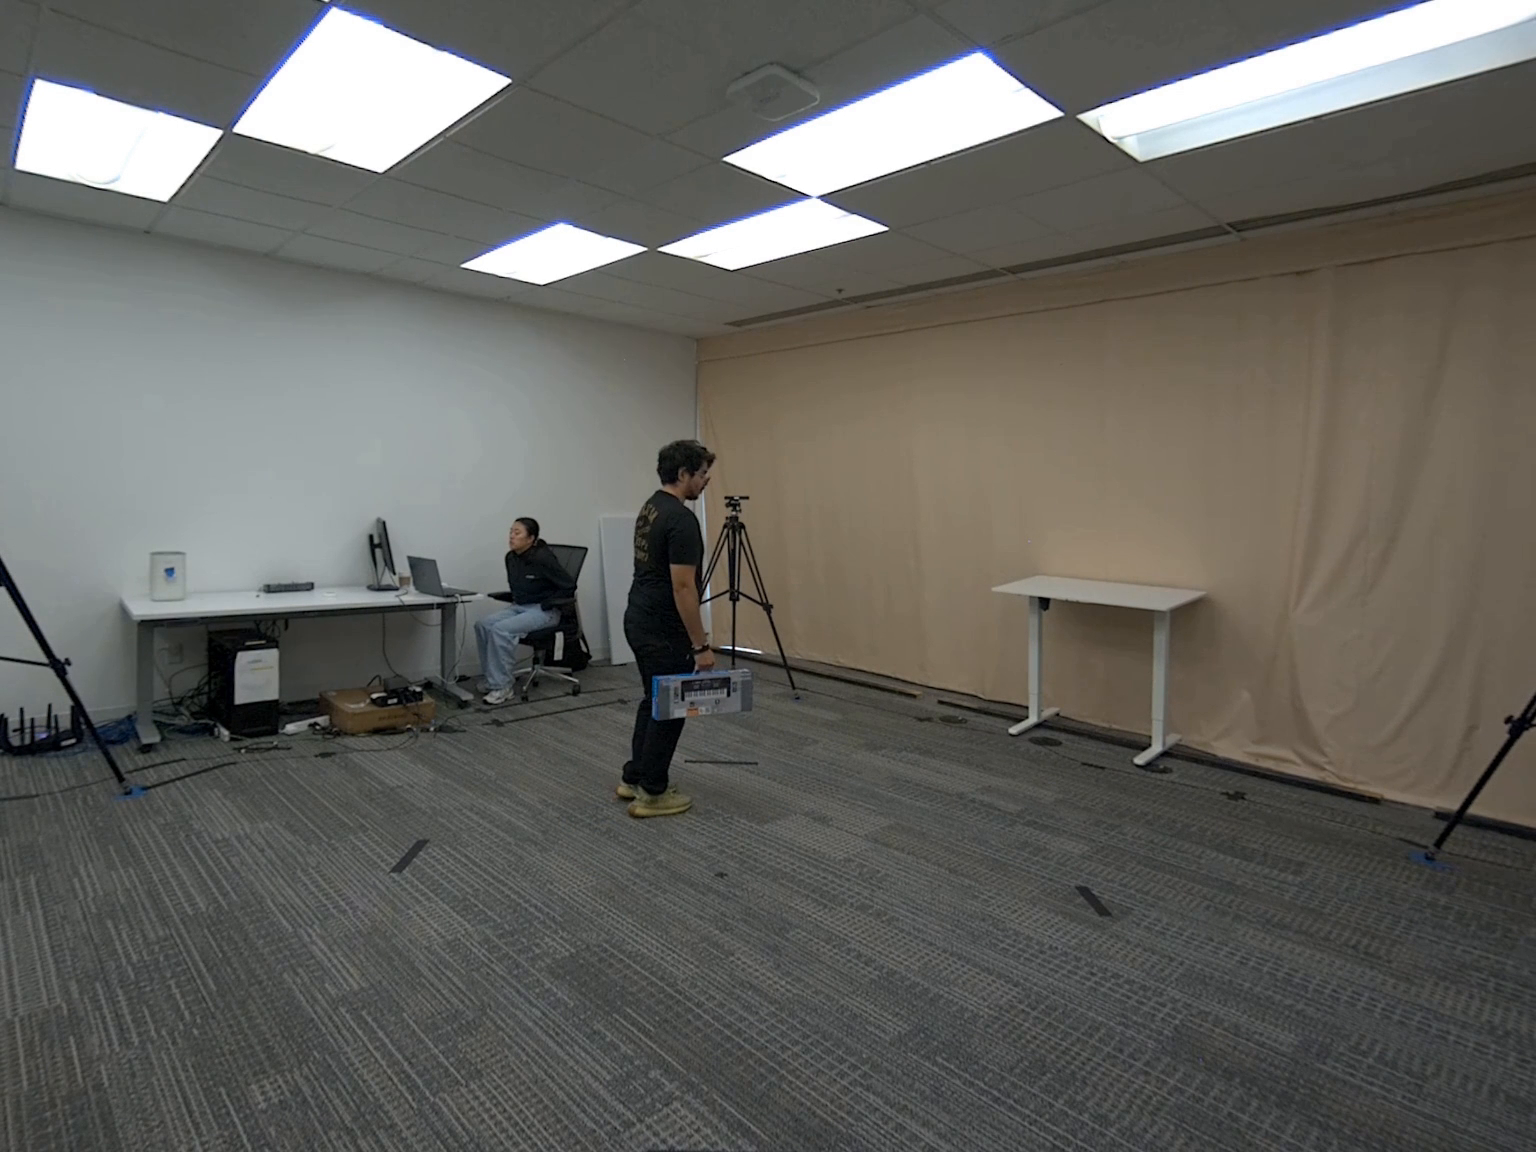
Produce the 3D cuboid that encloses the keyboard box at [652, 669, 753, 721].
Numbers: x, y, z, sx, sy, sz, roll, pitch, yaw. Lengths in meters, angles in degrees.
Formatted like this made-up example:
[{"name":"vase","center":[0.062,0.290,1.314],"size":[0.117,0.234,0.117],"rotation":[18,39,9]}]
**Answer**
[{"name":"keyboard box","center":[-0.281,0.493,3.524],"size":[0.429,0.175,0.060],"rotation":[-1,4,-25]}]
